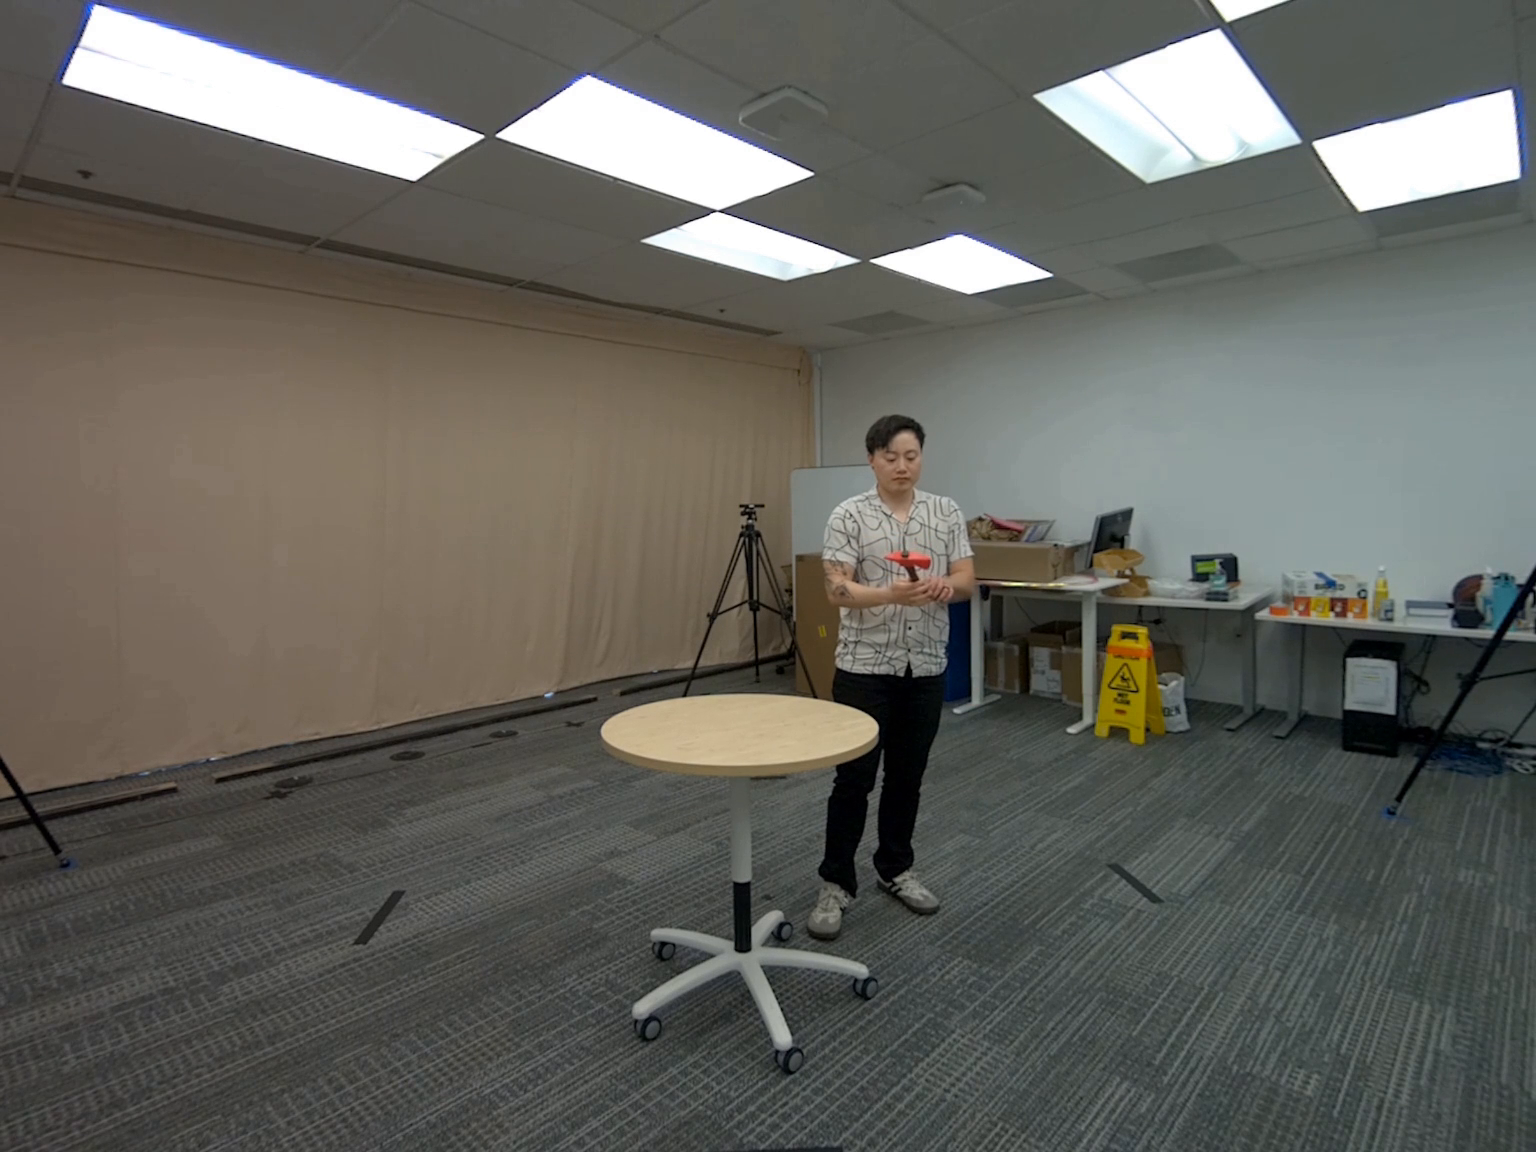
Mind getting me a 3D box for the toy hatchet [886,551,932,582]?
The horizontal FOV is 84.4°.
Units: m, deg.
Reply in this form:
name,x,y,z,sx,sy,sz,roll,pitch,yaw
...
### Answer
name,x,y,z,sx,sy,sz,roll,pitch,yaw
toy hatchet,0.474,-0.003,2.461,0.135,0.030,0.261,-9,-34,43
